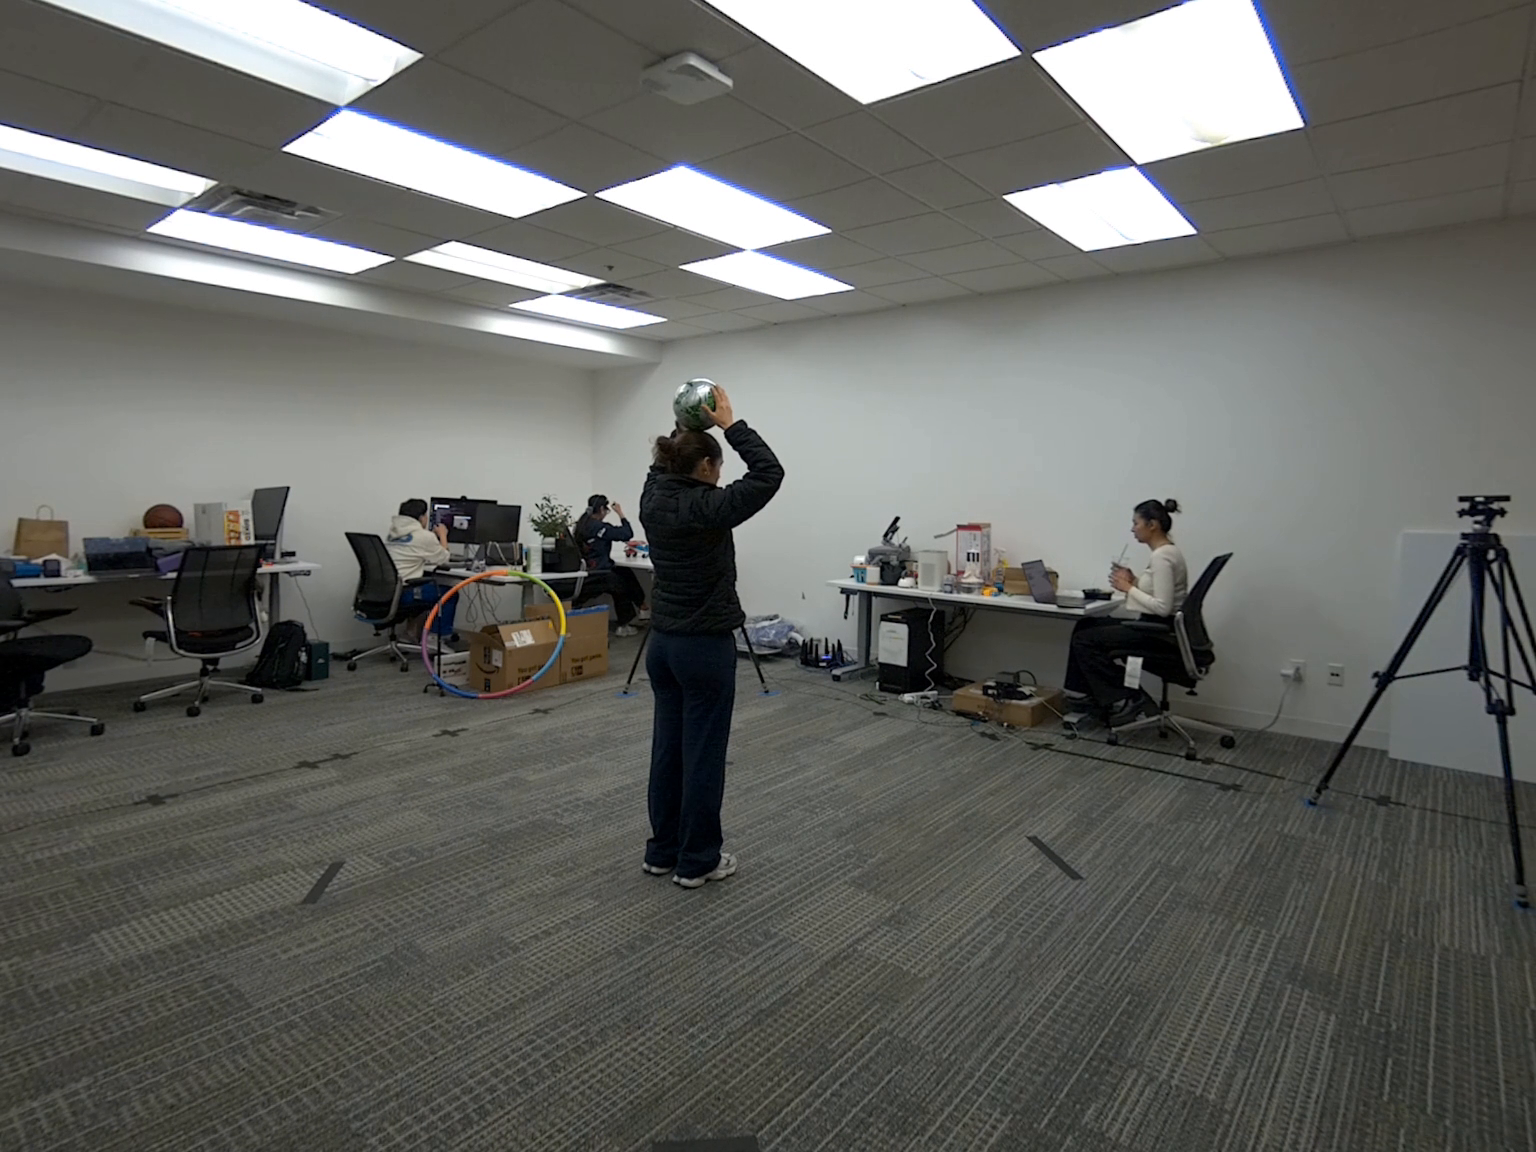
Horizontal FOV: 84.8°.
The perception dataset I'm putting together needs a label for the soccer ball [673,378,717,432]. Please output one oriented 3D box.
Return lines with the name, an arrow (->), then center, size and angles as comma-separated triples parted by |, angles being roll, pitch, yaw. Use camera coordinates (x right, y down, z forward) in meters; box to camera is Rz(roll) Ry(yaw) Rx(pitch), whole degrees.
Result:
soccer ball -> -0.256, -0.612, 3.033 | 0.187, 0.187, 0.188 | 1, 4, -2
